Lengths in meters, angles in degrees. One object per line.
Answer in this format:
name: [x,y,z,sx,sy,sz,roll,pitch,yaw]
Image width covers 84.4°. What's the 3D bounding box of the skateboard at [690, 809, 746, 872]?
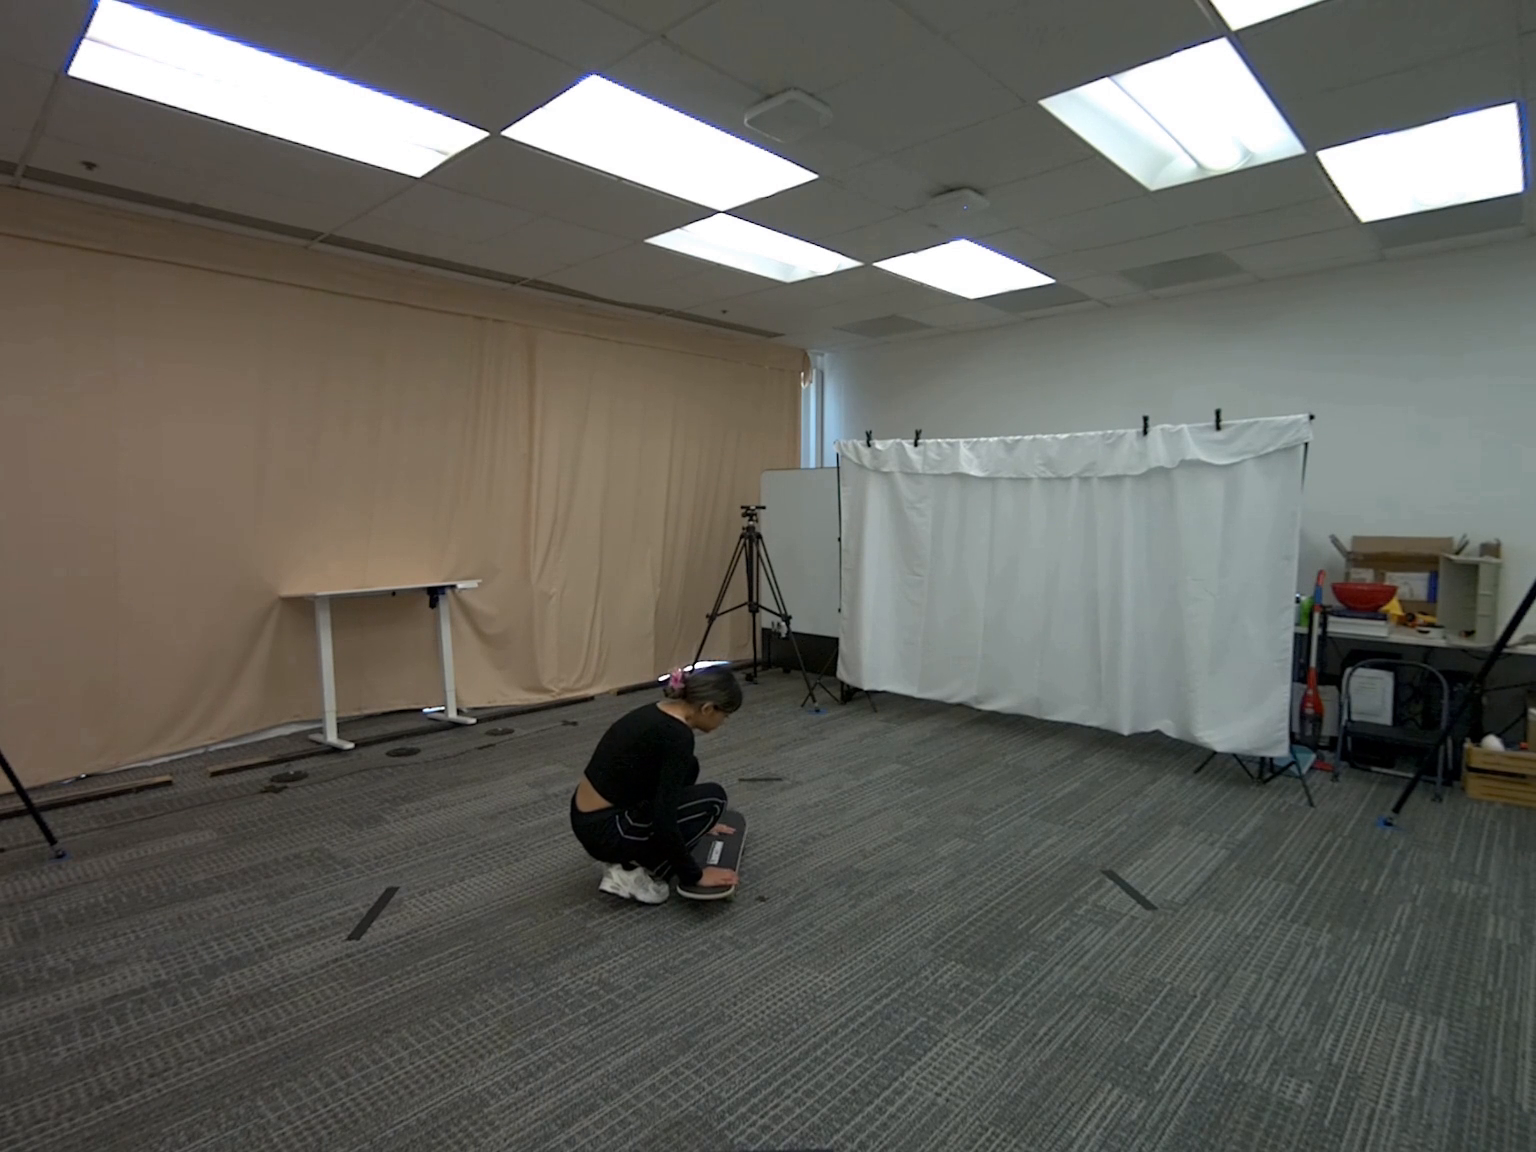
skateboard: [-0.195,1.070,3.169,0.194,0.110,0.783,1,5,3]
